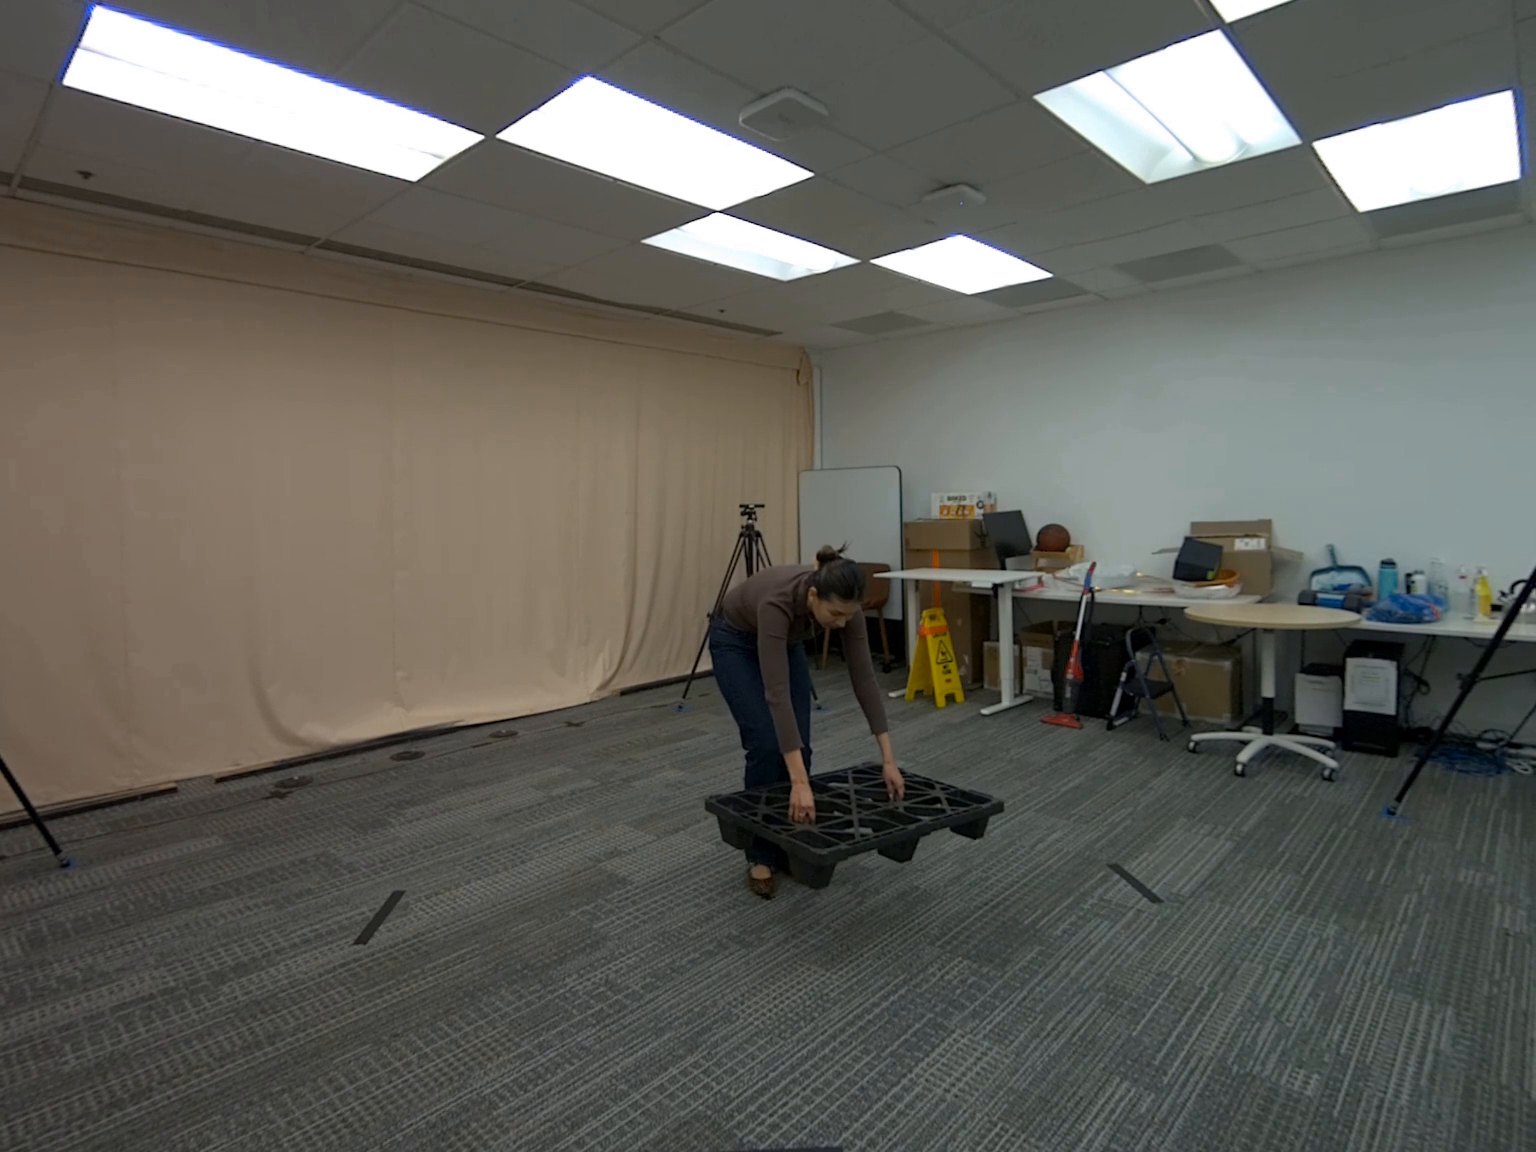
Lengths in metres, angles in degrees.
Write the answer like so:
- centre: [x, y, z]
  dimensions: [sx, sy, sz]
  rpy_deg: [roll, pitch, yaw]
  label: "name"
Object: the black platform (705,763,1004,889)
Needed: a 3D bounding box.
- centre: [0.282, 0.809, 2.773]
  dimensions: [0.782, 0.143, 0.624]
  rpy_deg: [-2, 3, -35]
  label: "black platform"
